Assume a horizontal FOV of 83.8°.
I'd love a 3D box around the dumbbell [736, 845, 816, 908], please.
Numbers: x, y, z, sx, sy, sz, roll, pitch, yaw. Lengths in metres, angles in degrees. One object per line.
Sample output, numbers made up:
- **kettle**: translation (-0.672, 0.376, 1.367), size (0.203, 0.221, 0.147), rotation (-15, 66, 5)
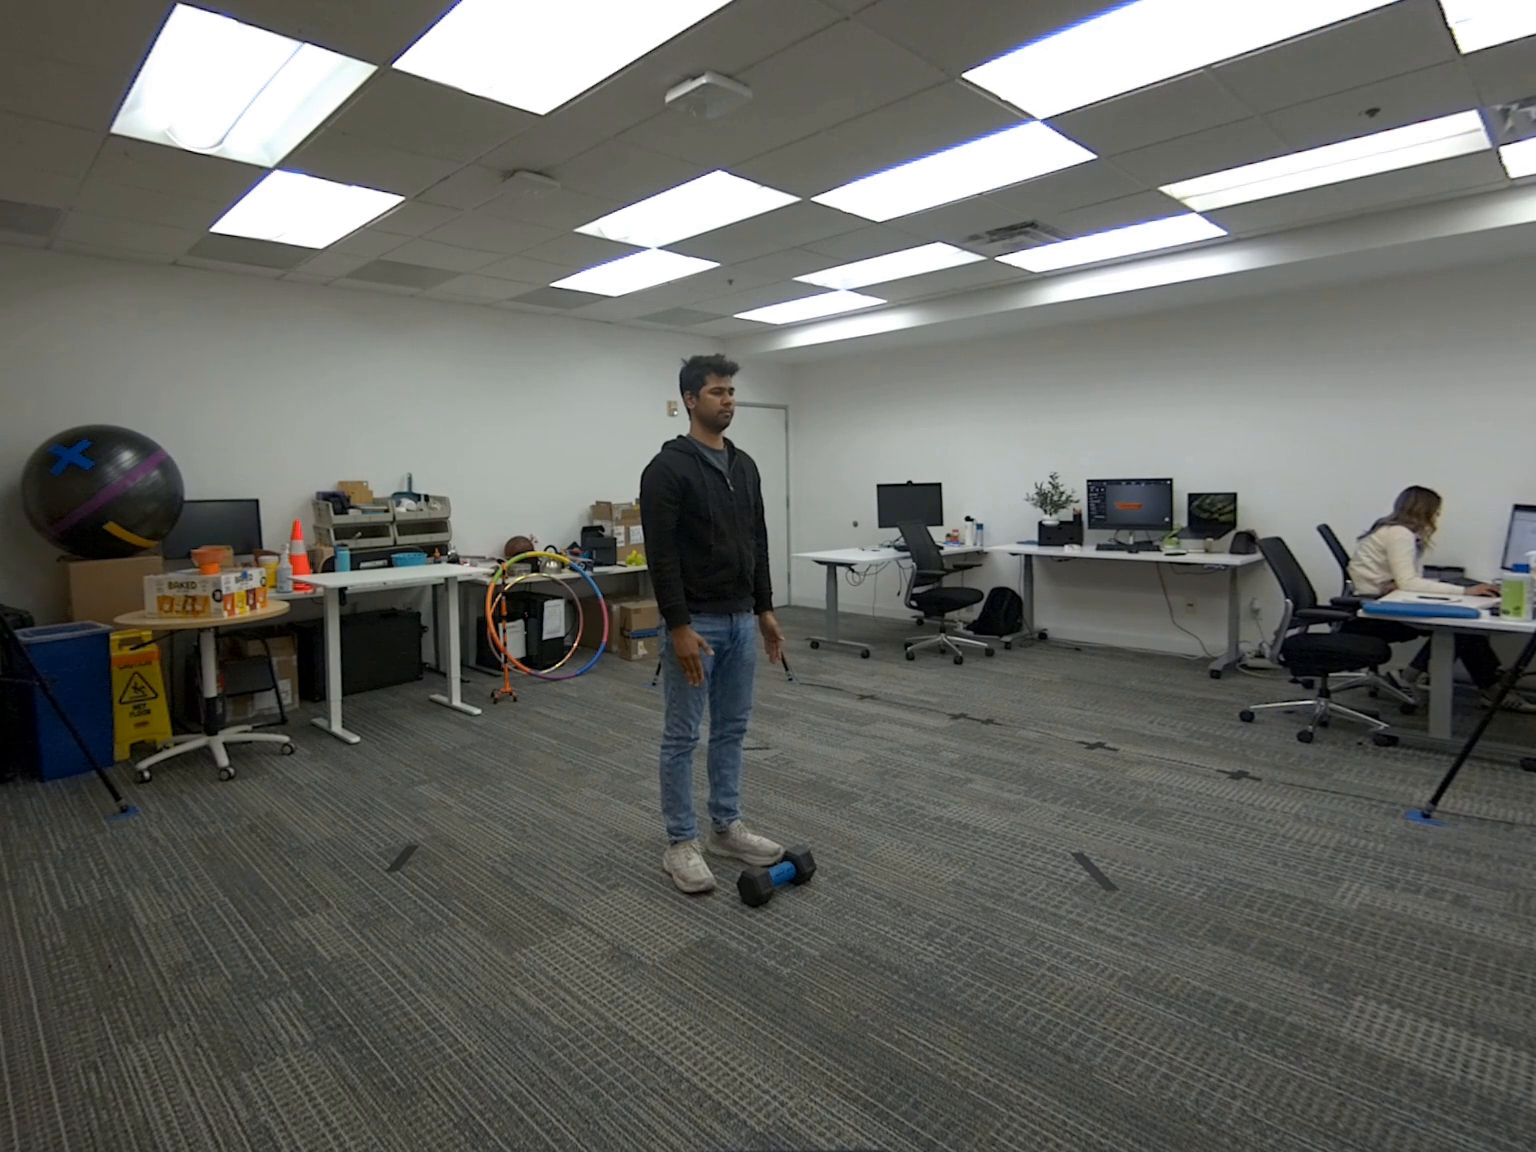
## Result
- **dumbbell**: translation (0.037, 1.012, 2.891), size (0.286, 0.125, 0.109), rotation (-7, -24, -45)
